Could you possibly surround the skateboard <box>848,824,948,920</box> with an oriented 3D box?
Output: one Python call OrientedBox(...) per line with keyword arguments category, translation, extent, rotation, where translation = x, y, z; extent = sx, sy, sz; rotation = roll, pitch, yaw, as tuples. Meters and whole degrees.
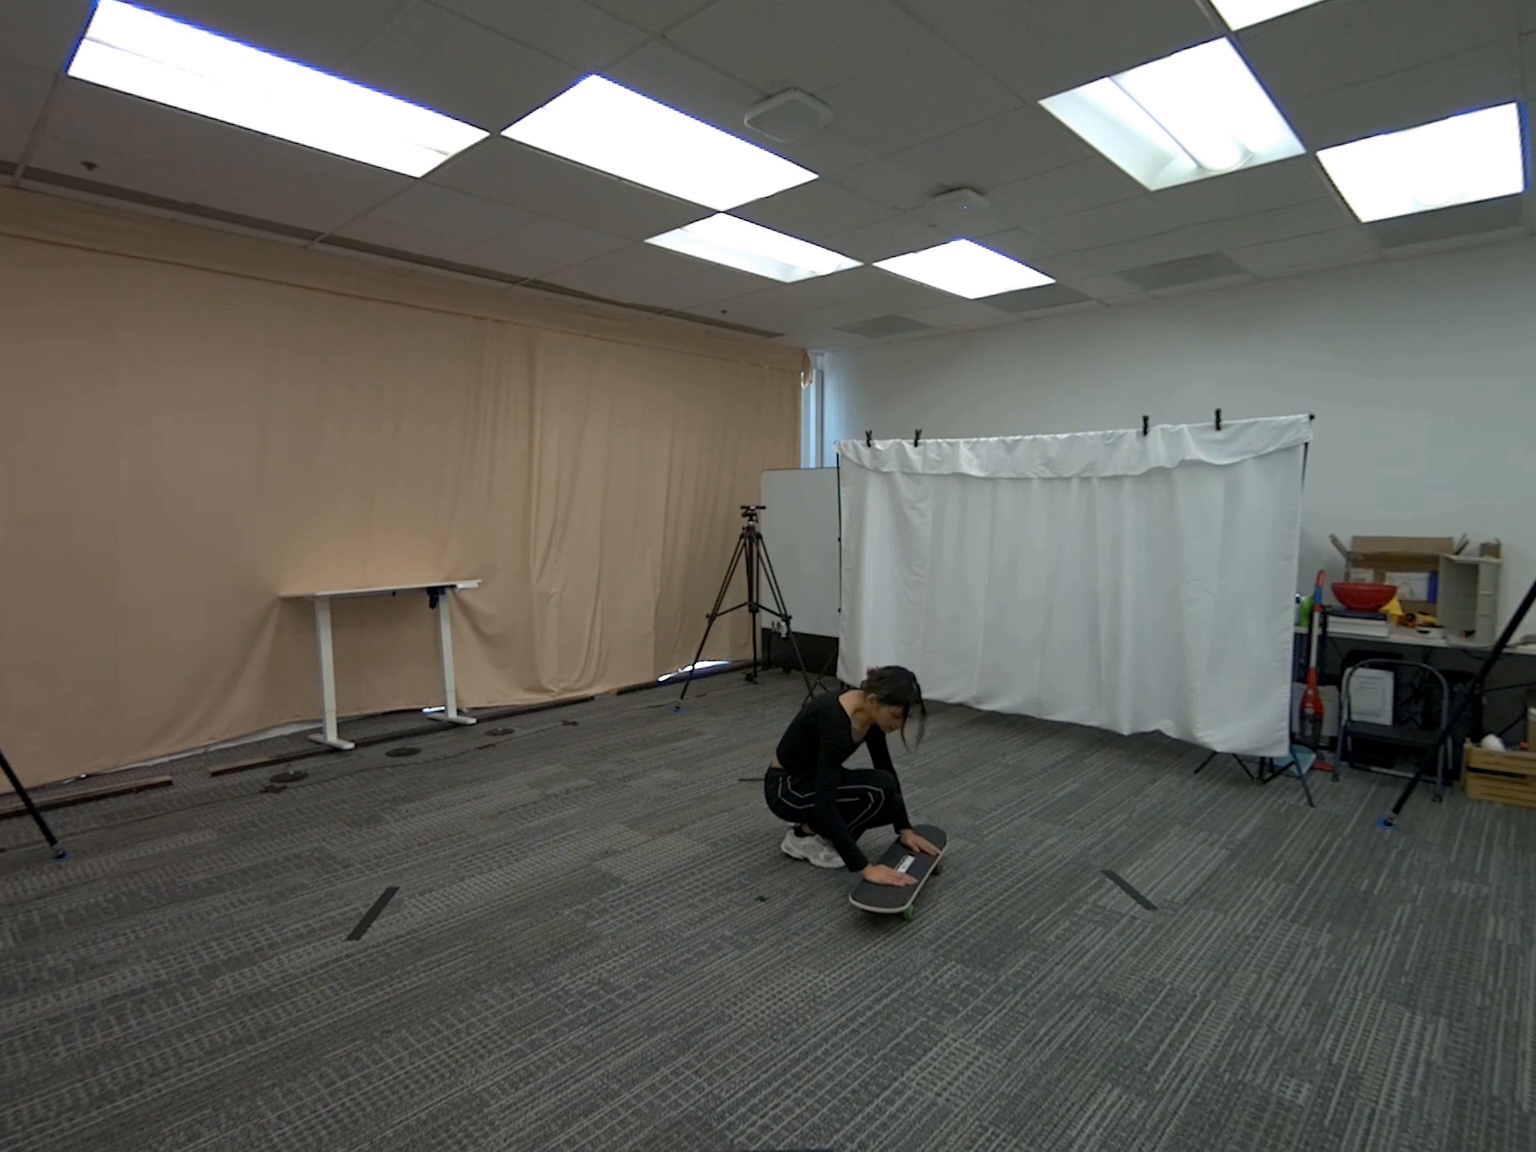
OrientedBox(category="skateboard", translation=(0.484, 1.073, 3.041), extent=(0.198, 0.110, 0.767), rotation=(2, 5, 25))
